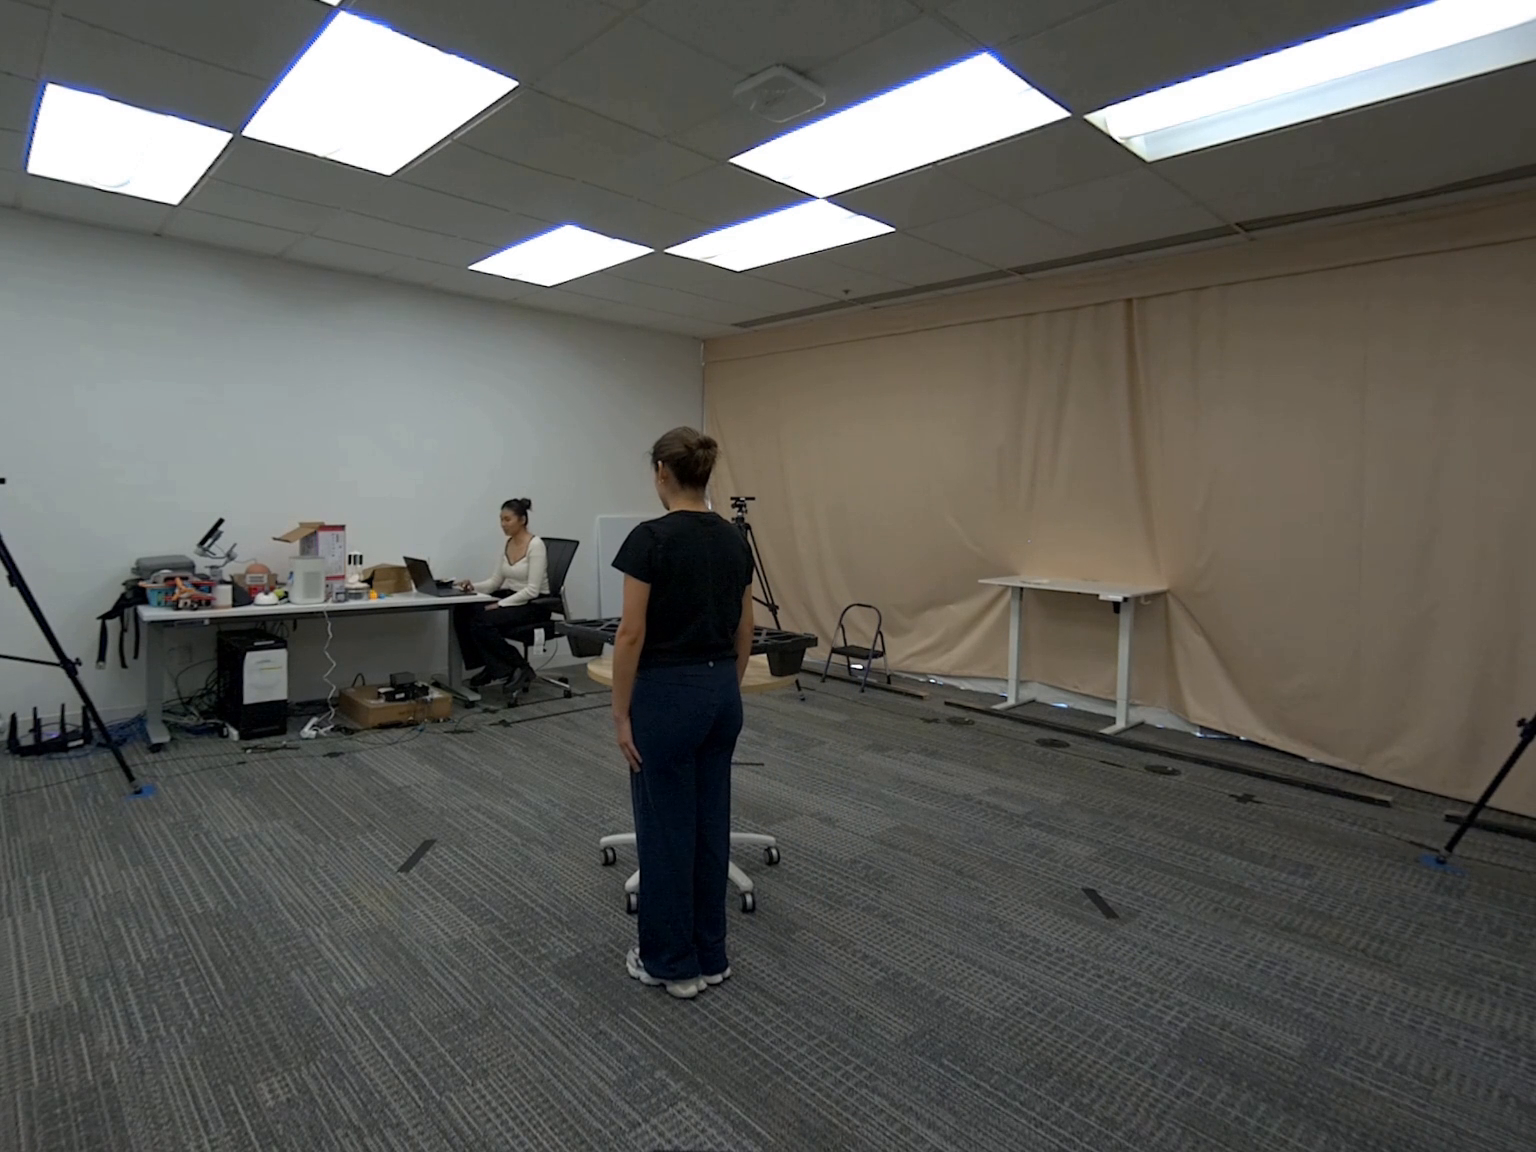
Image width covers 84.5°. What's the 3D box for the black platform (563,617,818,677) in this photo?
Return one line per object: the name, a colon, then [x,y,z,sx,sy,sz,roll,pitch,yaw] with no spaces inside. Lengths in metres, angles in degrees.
black platform: [-0.314,0.267,3.042,0.591,0.143,0.826,-3,7,-45]
